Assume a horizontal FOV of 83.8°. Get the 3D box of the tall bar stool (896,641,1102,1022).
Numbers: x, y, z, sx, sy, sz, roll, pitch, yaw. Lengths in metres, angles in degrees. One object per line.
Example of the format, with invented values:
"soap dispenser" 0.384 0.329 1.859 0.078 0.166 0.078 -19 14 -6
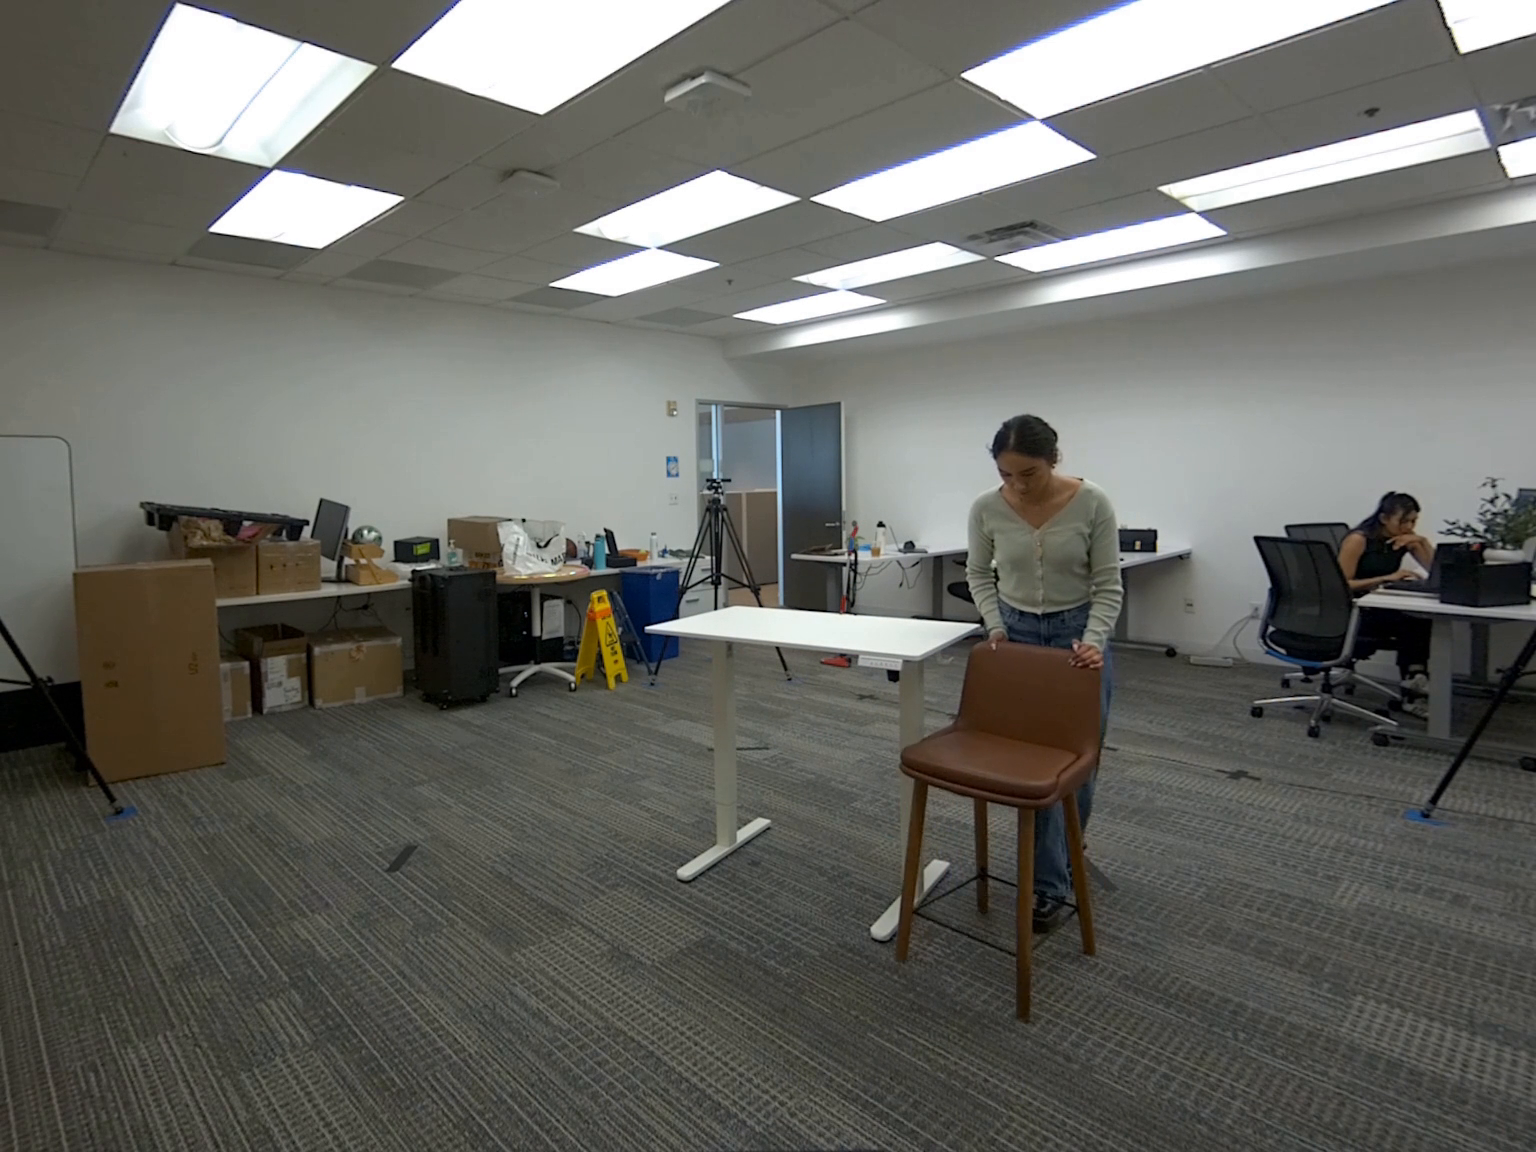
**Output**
"tall bar stool" 0.676 0.673 2.446 0.454 0.888 0.470 -1 3 -44
